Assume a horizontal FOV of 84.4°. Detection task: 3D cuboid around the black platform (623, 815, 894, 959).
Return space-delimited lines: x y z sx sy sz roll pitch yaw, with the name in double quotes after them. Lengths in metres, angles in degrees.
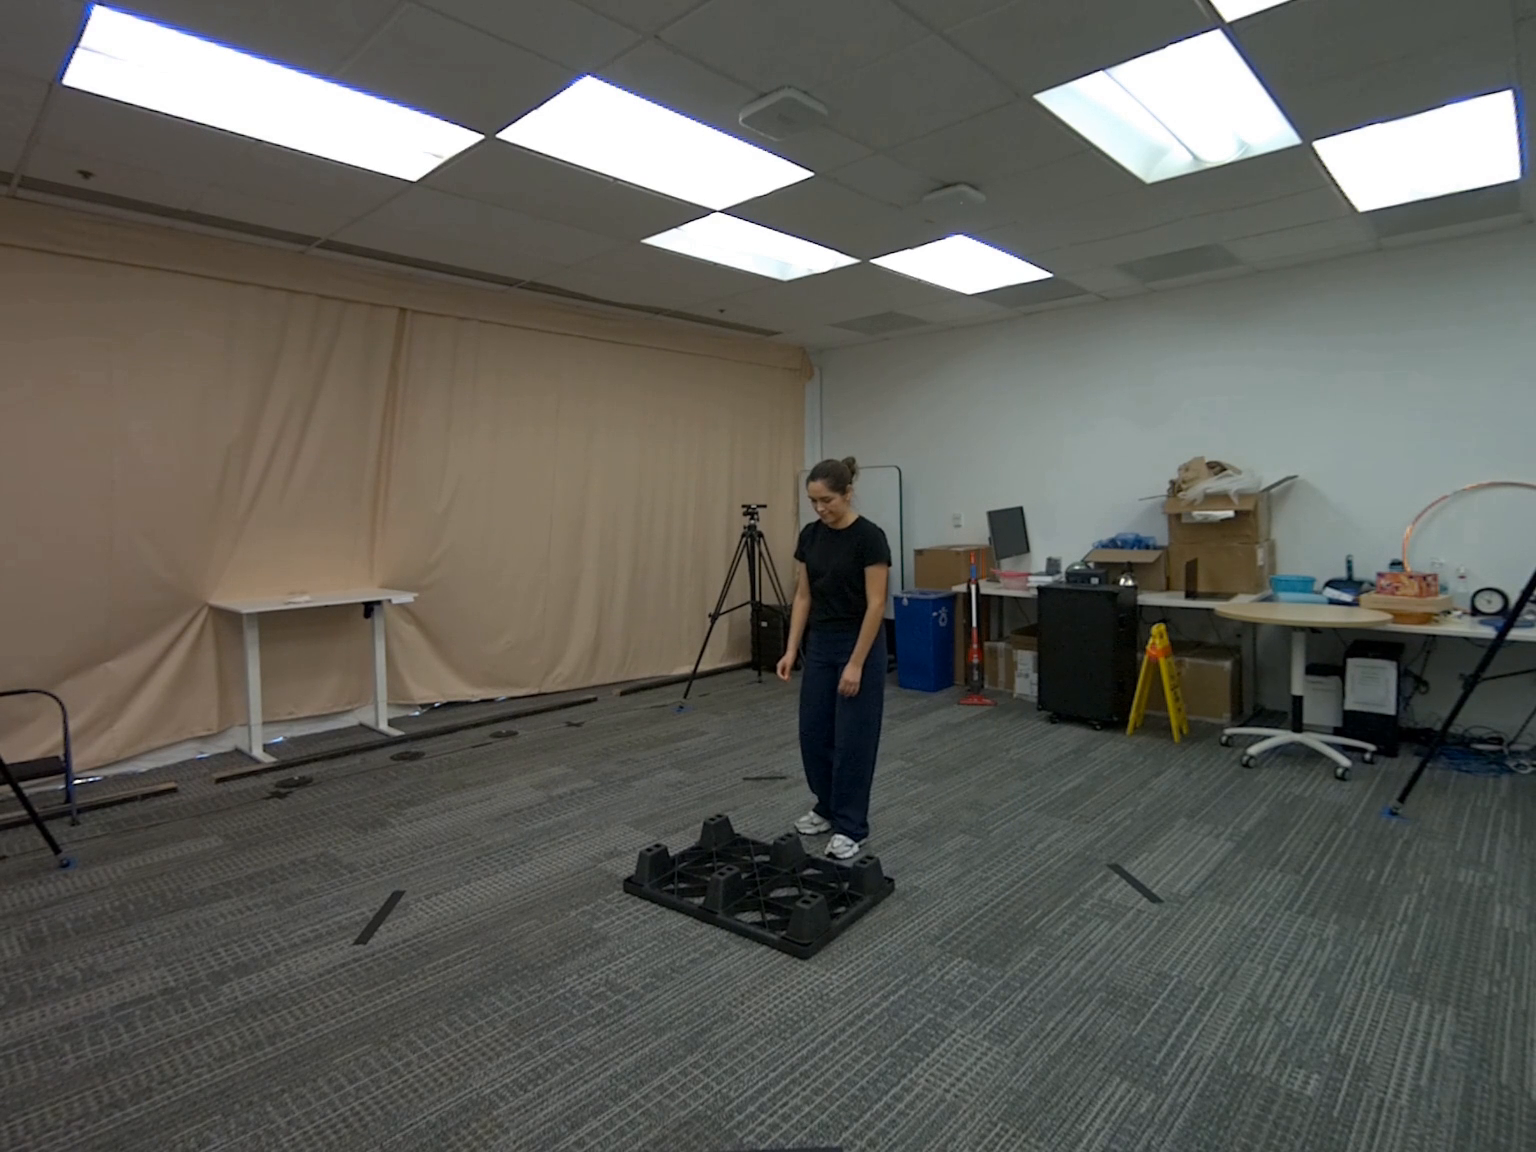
-0.017 1.068 3.038 0.831 0.143 0.588 3 7 37 "black platform"
